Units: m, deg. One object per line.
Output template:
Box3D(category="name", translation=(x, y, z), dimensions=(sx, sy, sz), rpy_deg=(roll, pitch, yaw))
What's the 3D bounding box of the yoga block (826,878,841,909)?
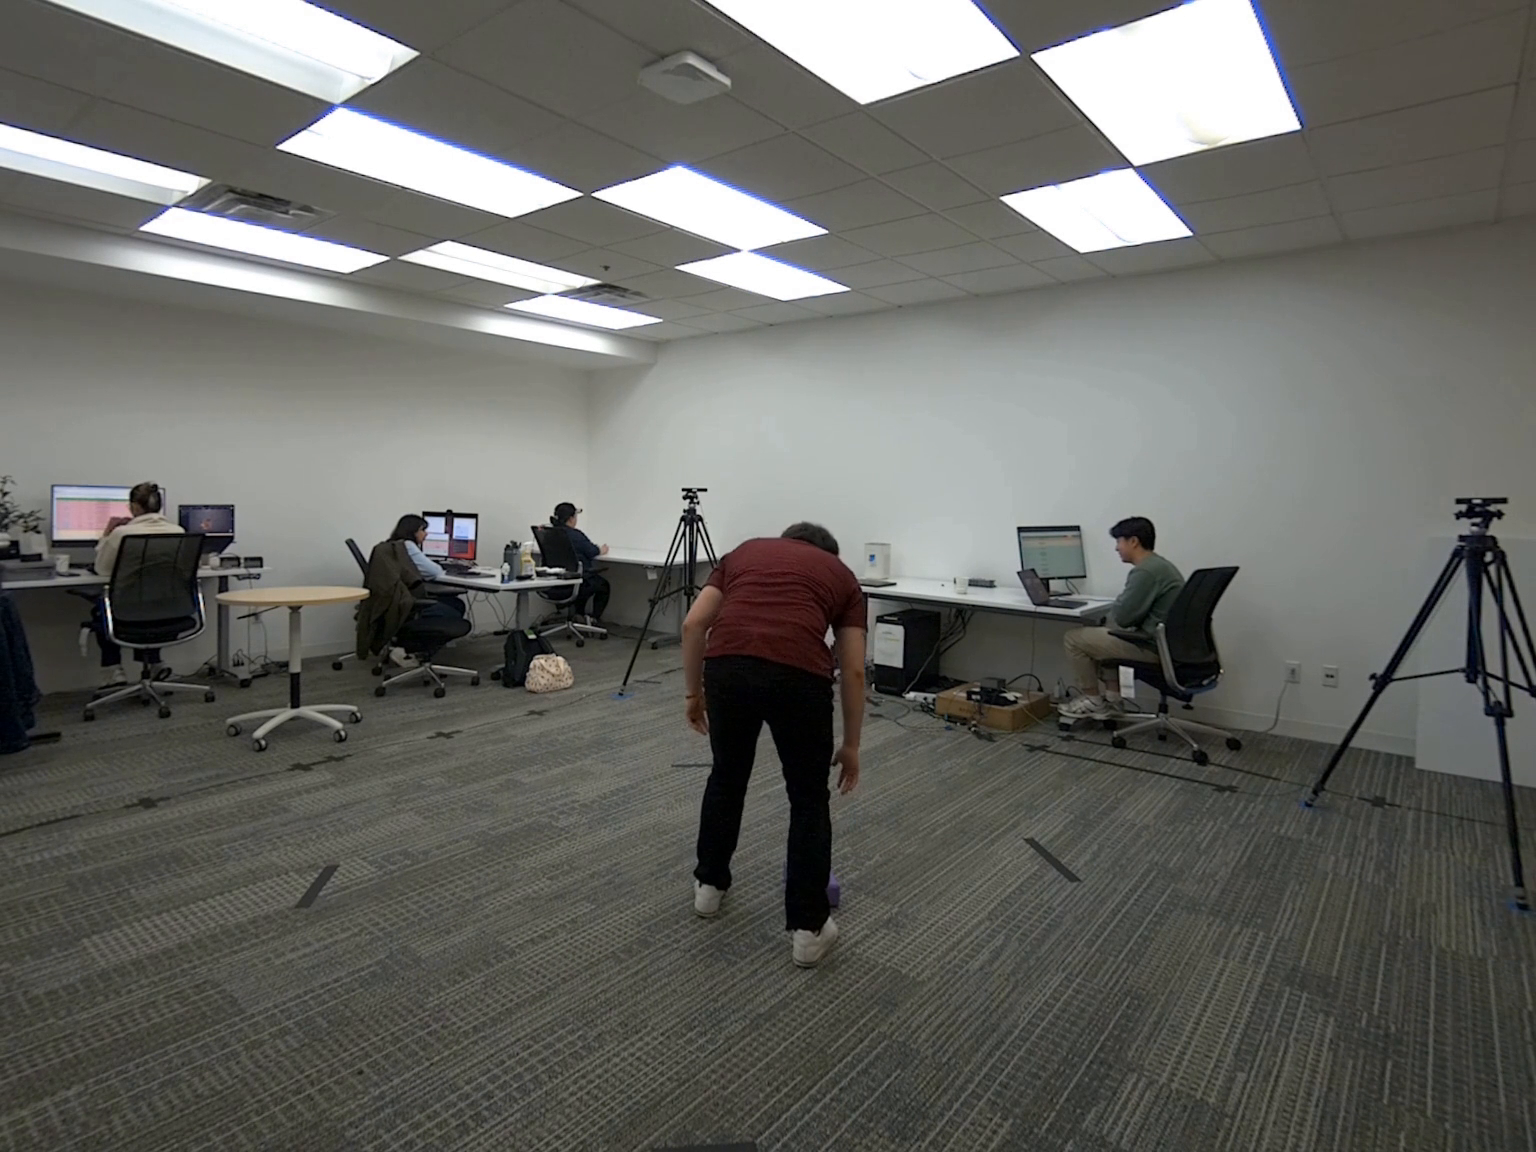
Box3D(category="yoga block", translation=(0.143, 1.051, 2.936), dimensions=(0.148, 0.076, 0.232), rpy_deg=(-1, 5, -9))
